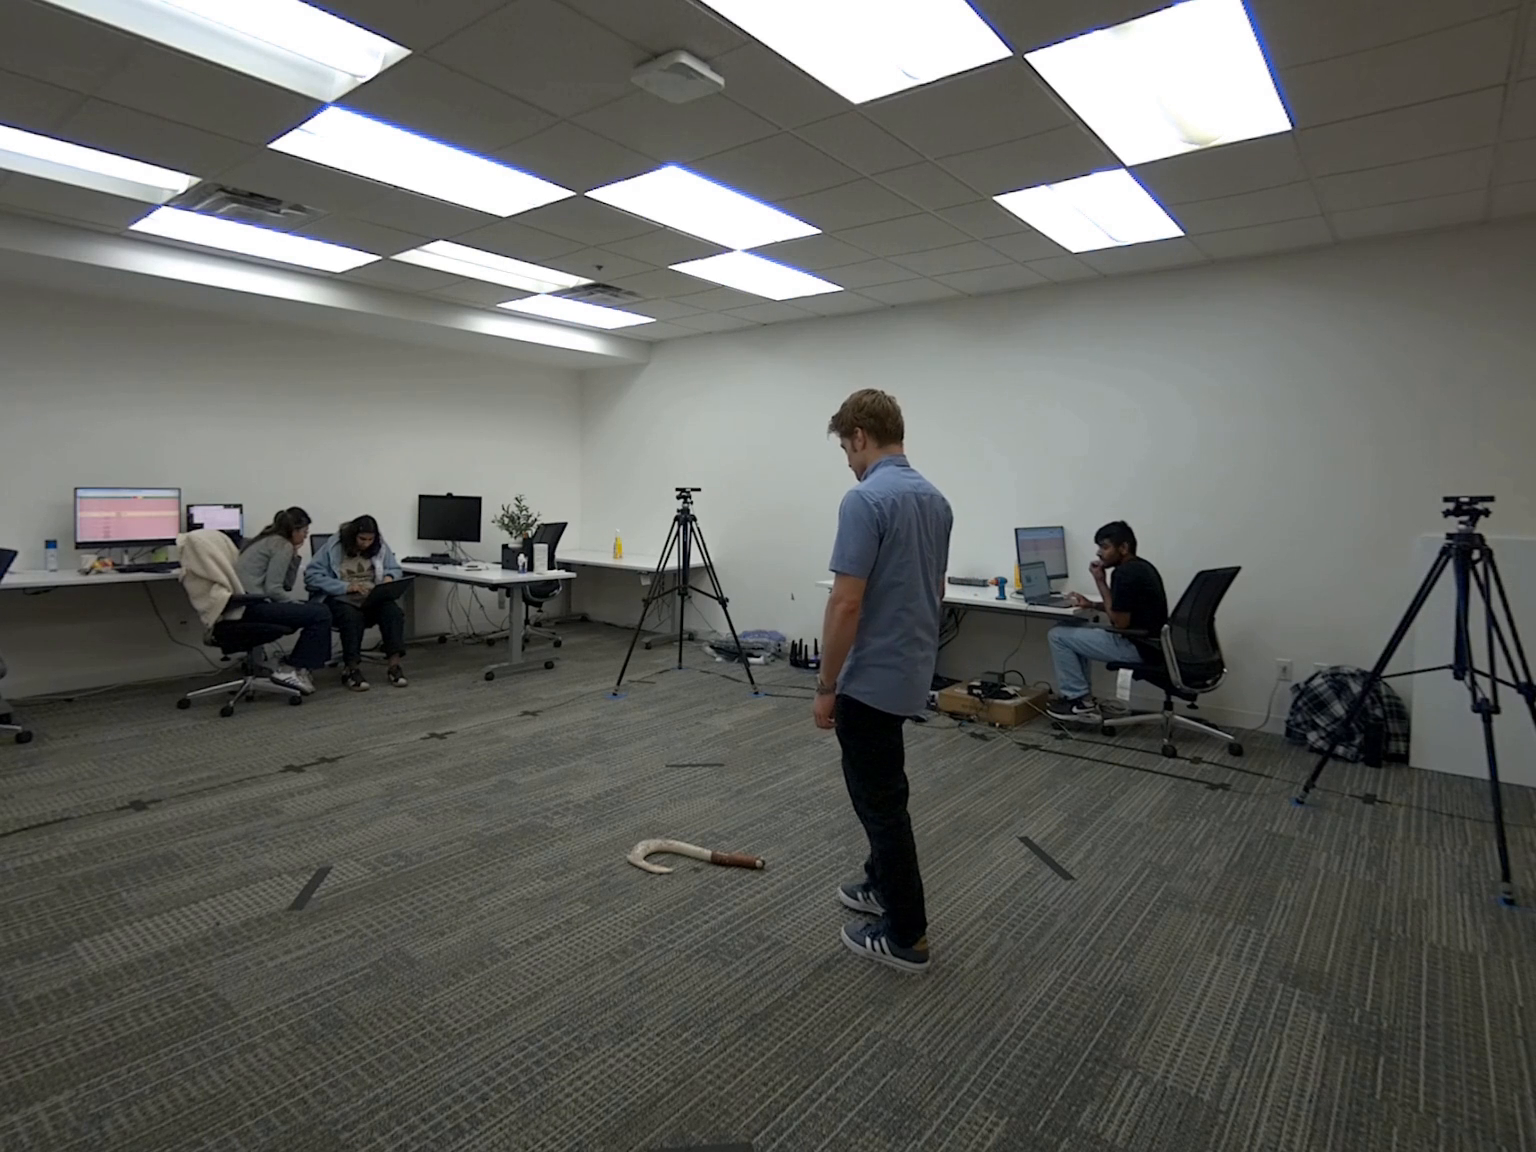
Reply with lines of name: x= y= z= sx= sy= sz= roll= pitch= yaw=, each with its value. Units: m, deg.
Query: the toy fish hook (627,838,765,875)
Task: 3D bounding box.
toy fish hook: x=-0.273 y=1.050 z=3.135 sx=0.516 sy=0.048 sz=0.223 roll=1 pitch=13 yaw=16
